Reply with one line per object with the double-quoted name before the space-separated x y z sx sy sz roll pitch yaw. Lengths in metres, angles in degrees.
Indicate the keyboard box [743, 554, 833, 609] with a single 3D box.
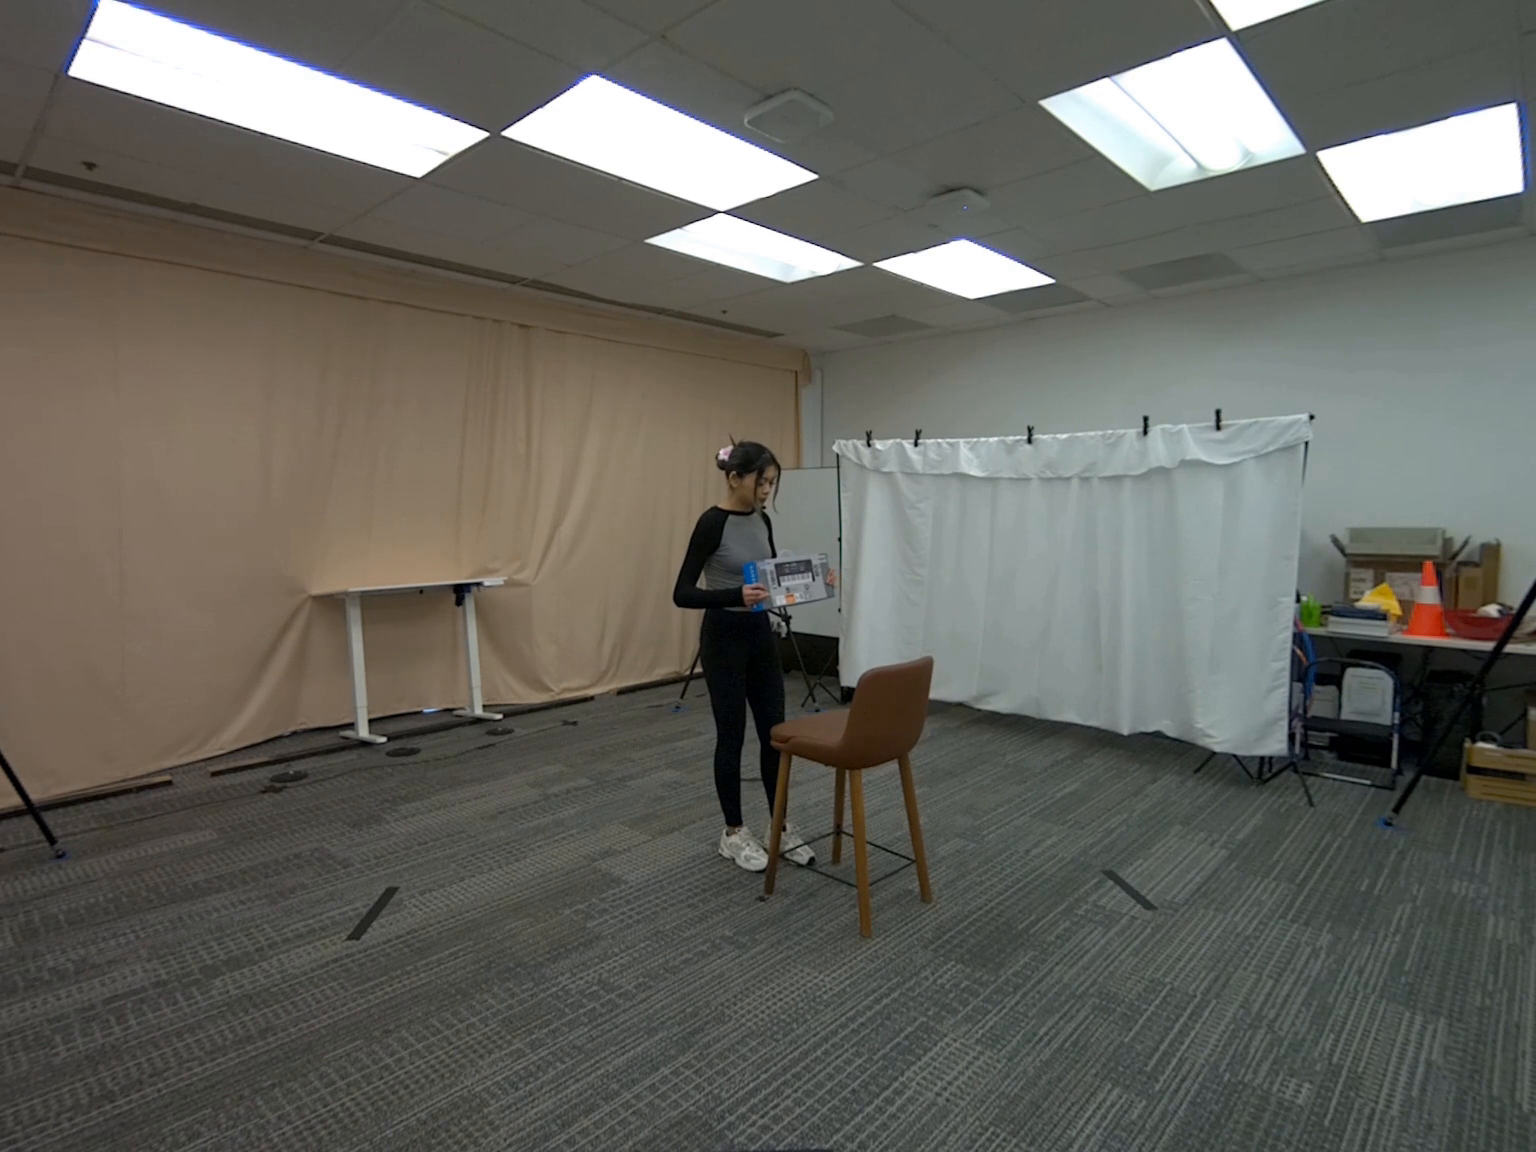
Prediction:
"keyboard box" 0.086 0.020 3.097 0.061 0.176 0.424 -14 -4 41
